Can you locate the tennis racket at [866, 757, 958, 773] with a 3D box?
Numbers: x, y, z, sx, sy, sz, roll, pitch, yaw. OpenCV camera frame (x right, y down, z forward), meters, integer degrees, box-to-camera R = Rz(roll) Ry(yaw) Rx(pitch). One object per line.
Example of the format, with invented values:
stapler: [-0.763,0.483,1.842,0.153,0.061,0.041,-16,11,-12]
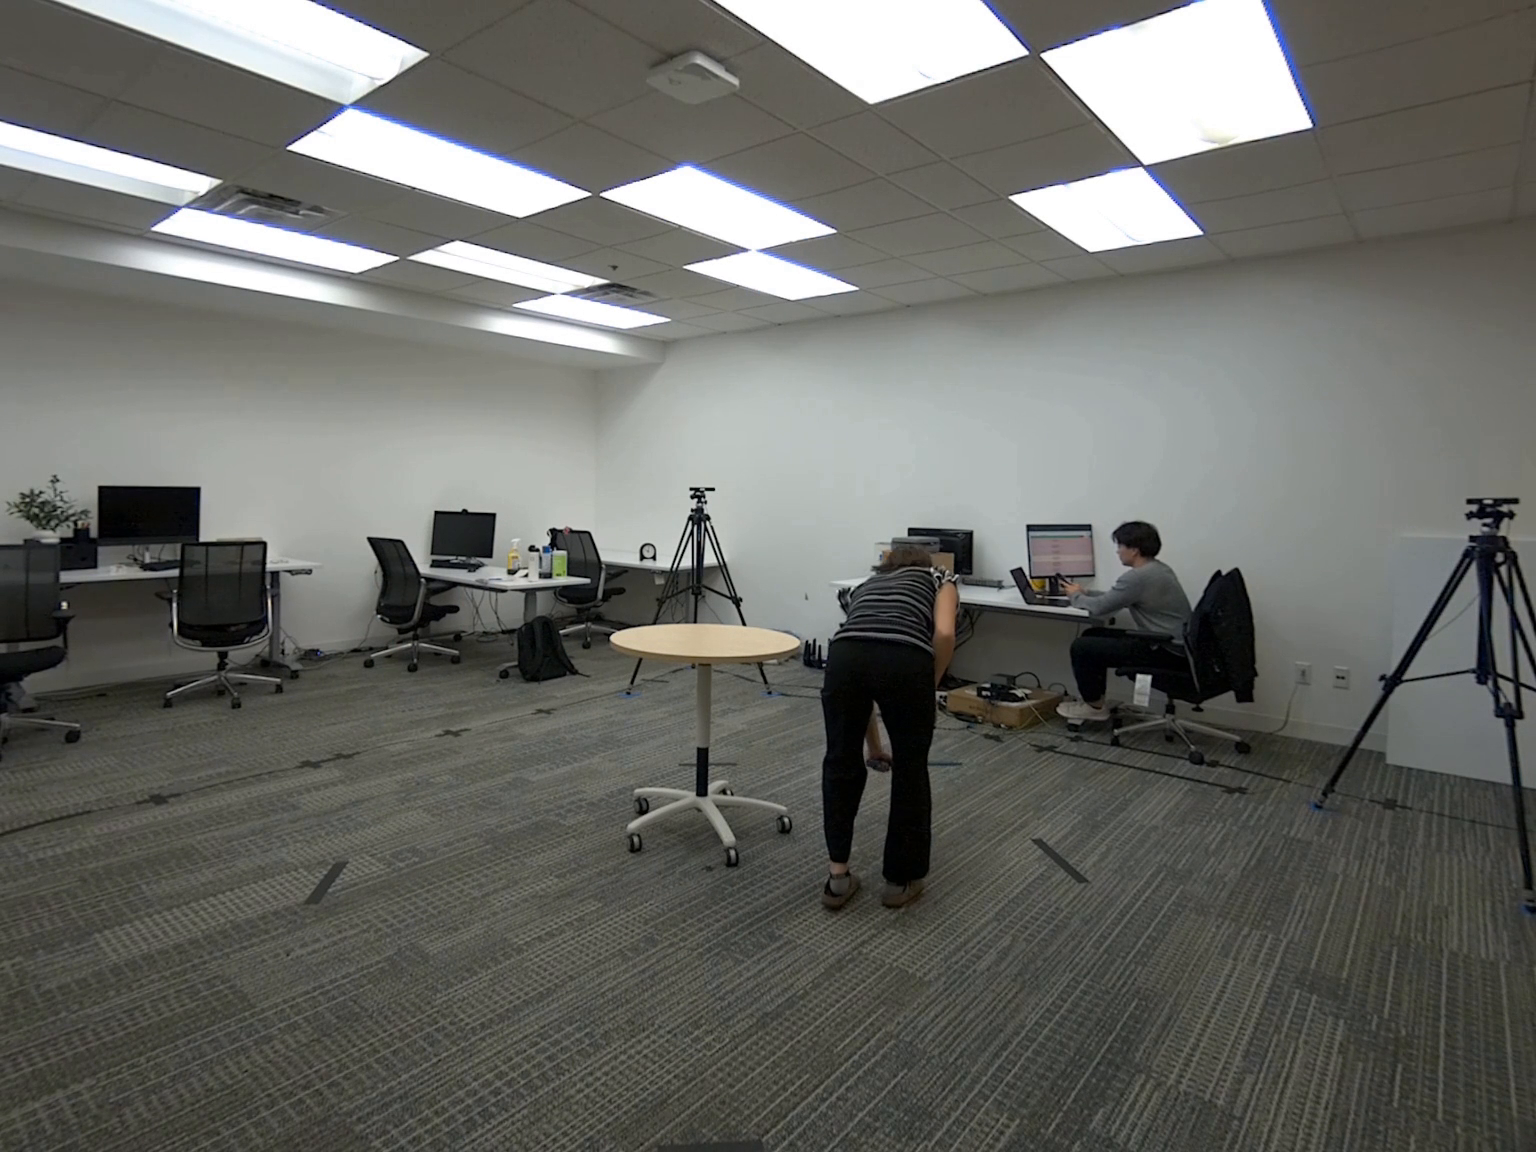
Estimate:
tennis racket: [0.544,0.702,3.218,0.420,0.032,0.218,6,-13,-31]
